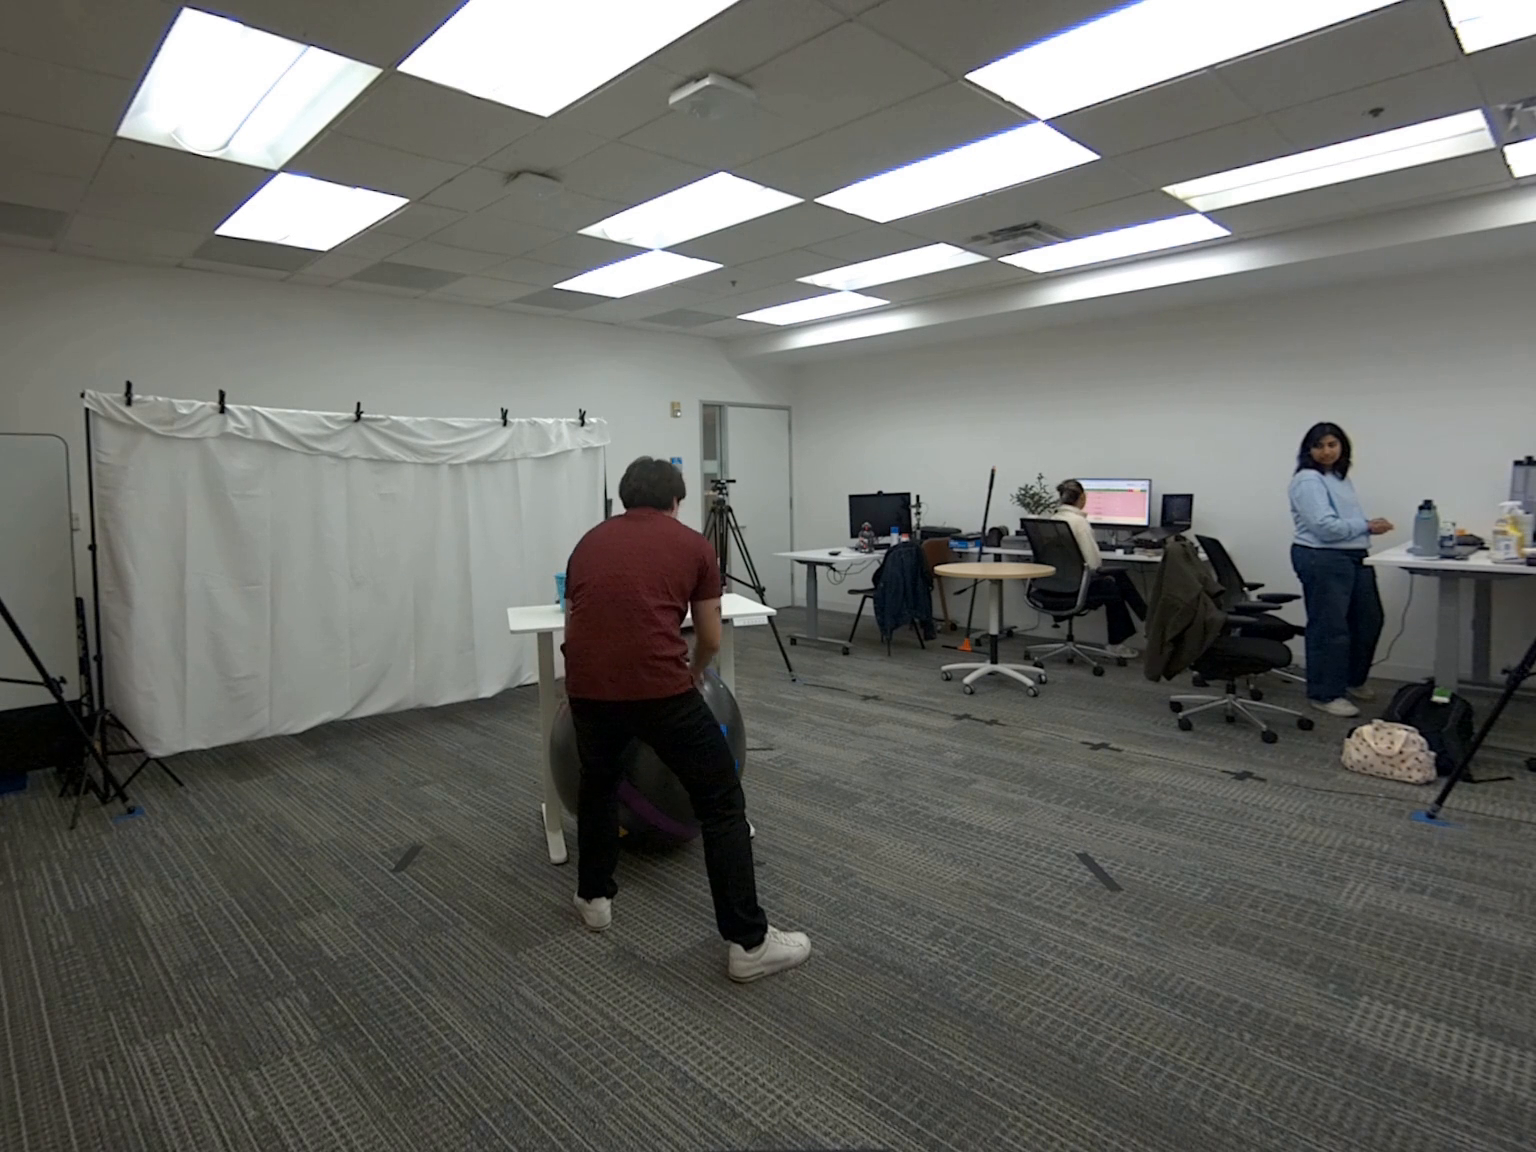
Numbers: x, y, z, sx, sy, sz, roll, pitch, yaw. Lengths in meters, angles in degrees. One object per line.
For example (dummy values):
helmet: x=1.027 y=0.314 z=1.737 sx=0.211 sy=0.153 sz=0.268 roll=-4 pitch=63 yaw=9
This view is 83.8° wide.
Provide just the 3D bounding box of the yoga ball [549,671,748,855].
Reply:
yoga ball: x=-0.463 y=0.665 z=3.307 sx=0.757 sy=0.755 sz=0.762 roll=-1 pitch=5 yaw=-2
